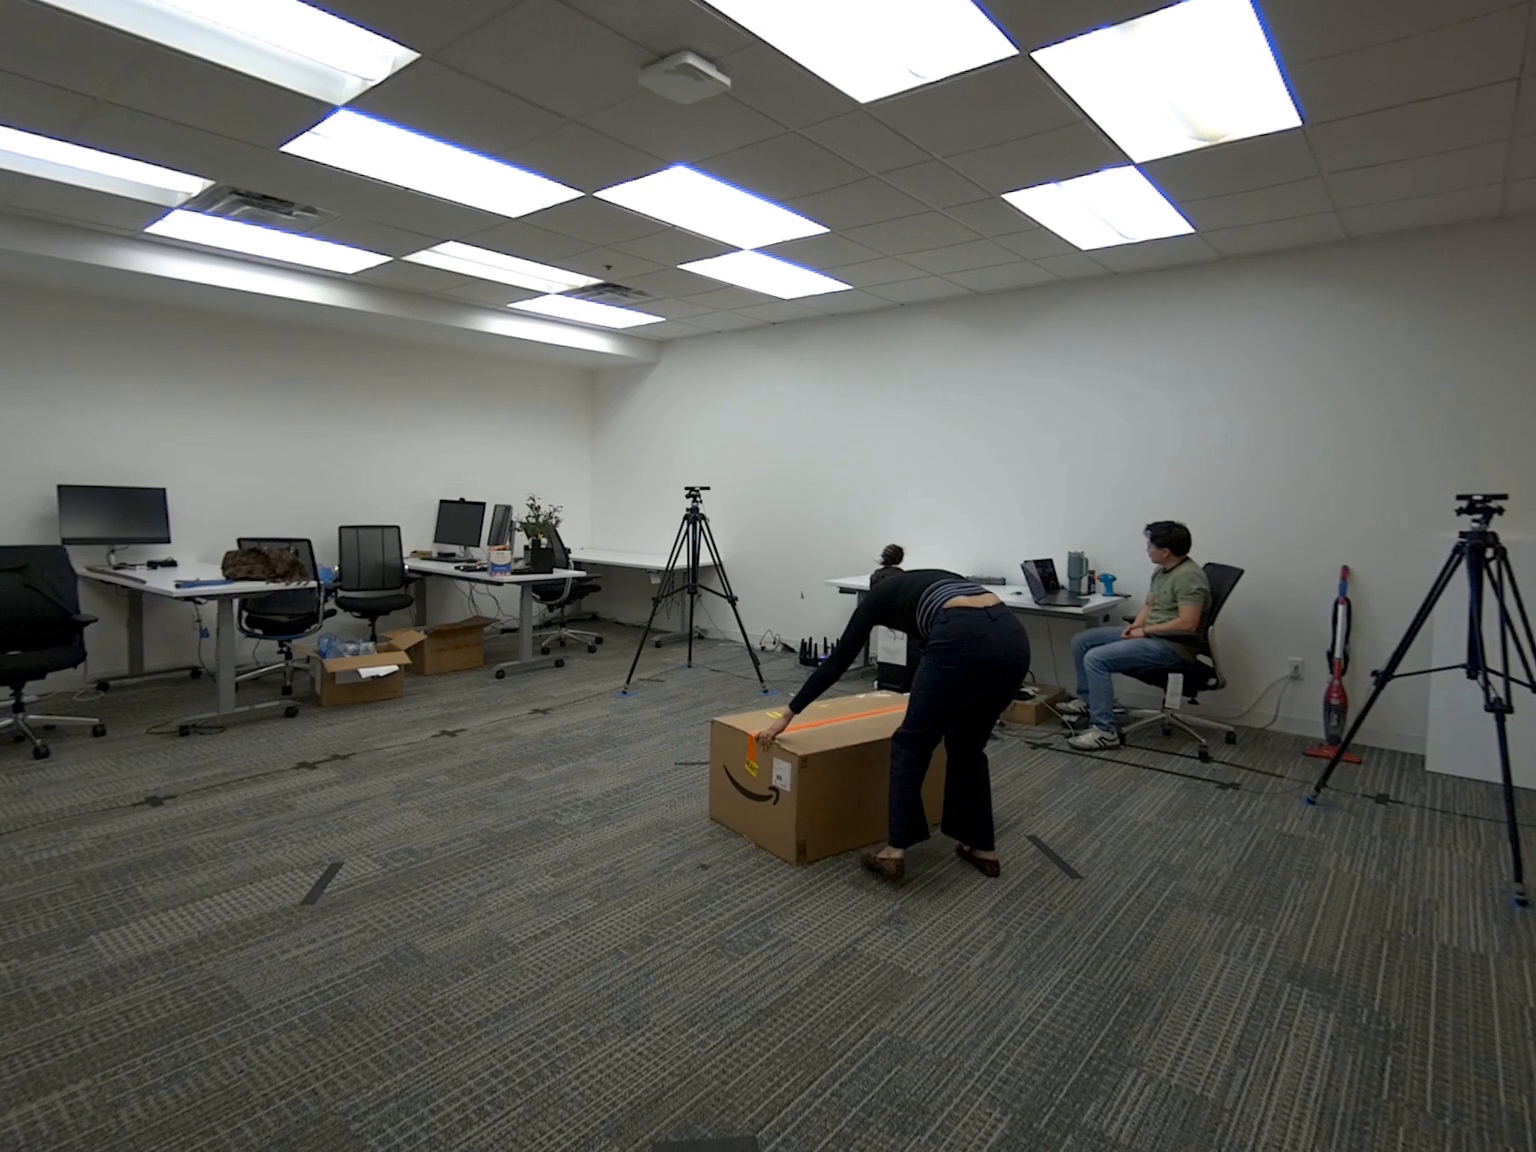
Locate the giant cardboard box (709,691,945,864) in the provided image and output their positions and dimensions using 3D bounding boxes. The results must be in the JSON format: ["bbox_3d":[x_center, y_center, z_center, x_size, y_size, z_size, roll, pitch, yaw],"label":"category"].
[{"bbox_3d":[0.315,0.806,3.633,0.996,0.425,0.597,-3,6,-36],"label":"giant cardboard box"}]
